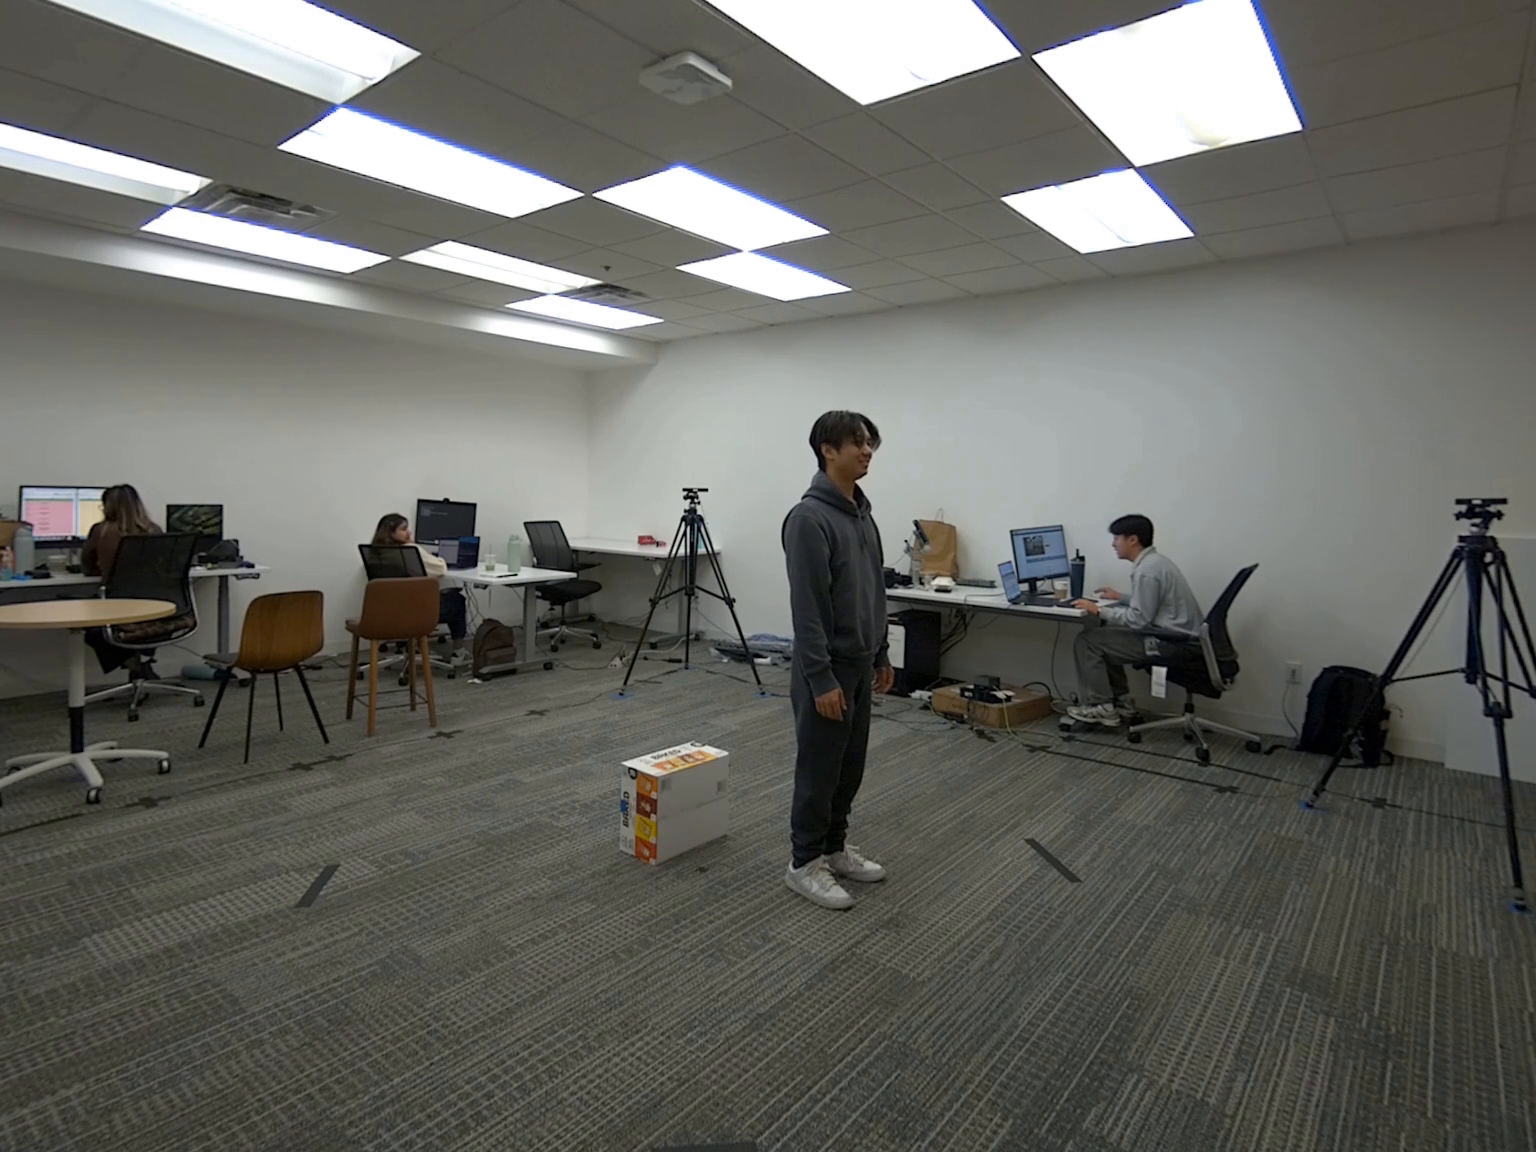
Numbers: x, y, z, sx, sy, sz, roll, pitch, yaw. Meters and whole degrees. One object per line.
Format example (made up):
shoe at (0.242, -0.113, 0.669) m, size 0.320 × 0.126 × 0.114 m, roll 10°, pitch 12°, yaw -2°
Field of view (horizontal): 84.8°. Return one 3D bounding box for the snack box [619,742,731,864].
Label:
snack box at (-0.373, 0.877, 3.334) m, size 0.213 × 0.339 × 0.393 m, roll 6°, pitch 6°, yaw 40°
